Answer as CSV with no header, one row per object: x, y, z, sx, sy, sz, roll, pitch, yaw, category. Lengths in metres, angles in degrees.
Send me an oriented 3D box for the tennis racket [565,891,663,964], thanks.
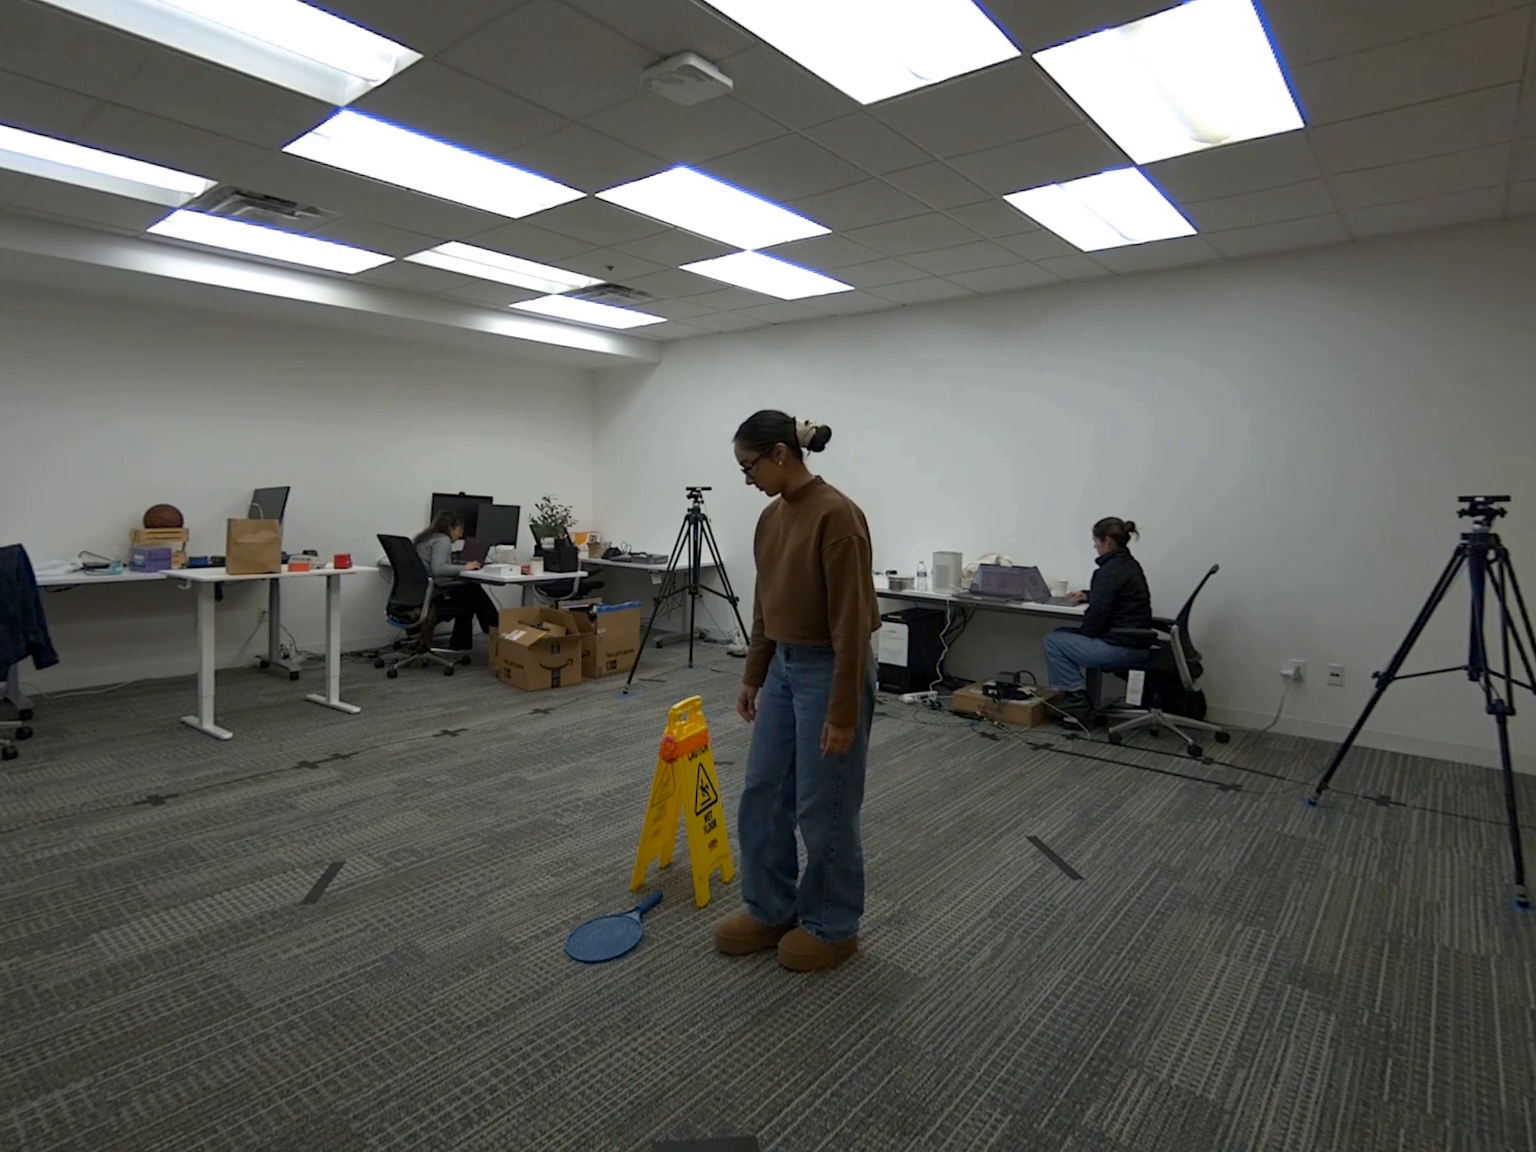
-0.468,1.090,2.675,0.220,0.031,0.423,3,8,28,tennis racket
